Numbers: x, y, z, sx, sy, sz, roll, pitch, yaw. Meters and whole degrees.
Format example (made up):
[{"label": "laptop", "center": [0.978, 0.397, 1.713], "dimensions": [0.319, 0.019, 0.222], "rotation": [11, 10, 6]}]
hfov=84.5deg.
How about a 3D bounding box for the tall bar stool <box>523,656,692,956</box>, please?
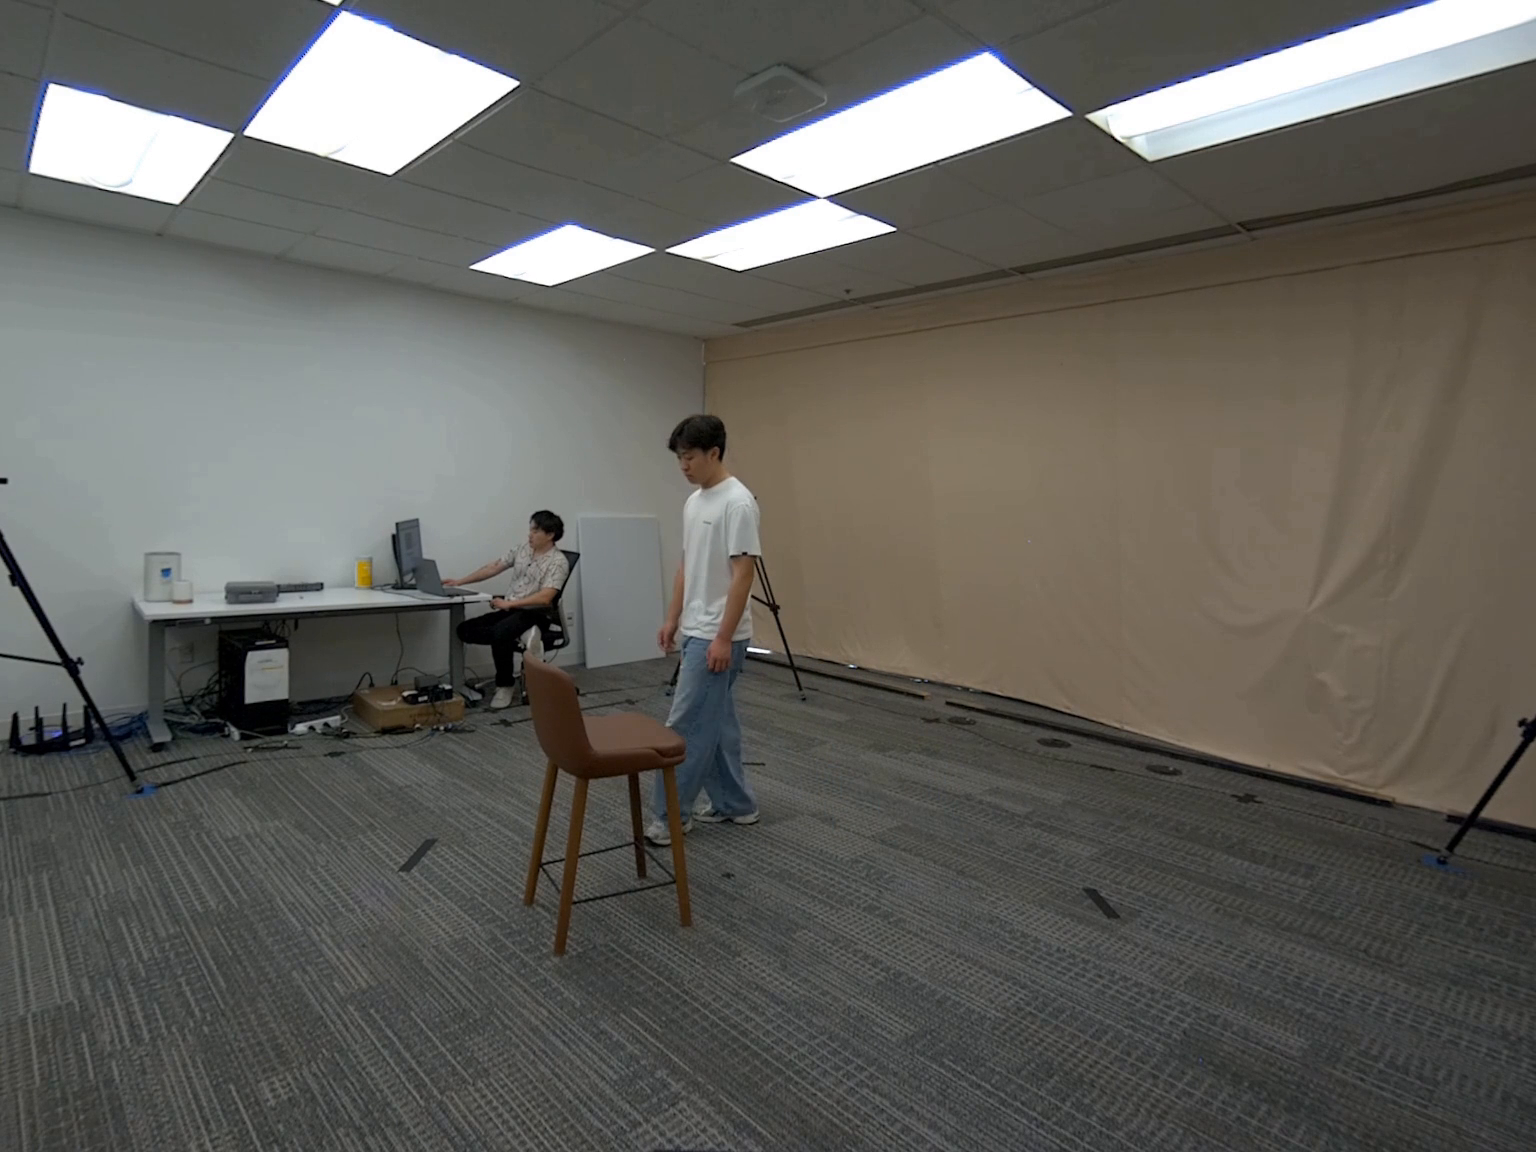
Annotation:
[{"label": "tall bar stool", "center": [-0.542, 0.689, 2.779], "dimensions": [0.458, 0.887, 0.467], "rotation": [-3, 5, -31]}]
